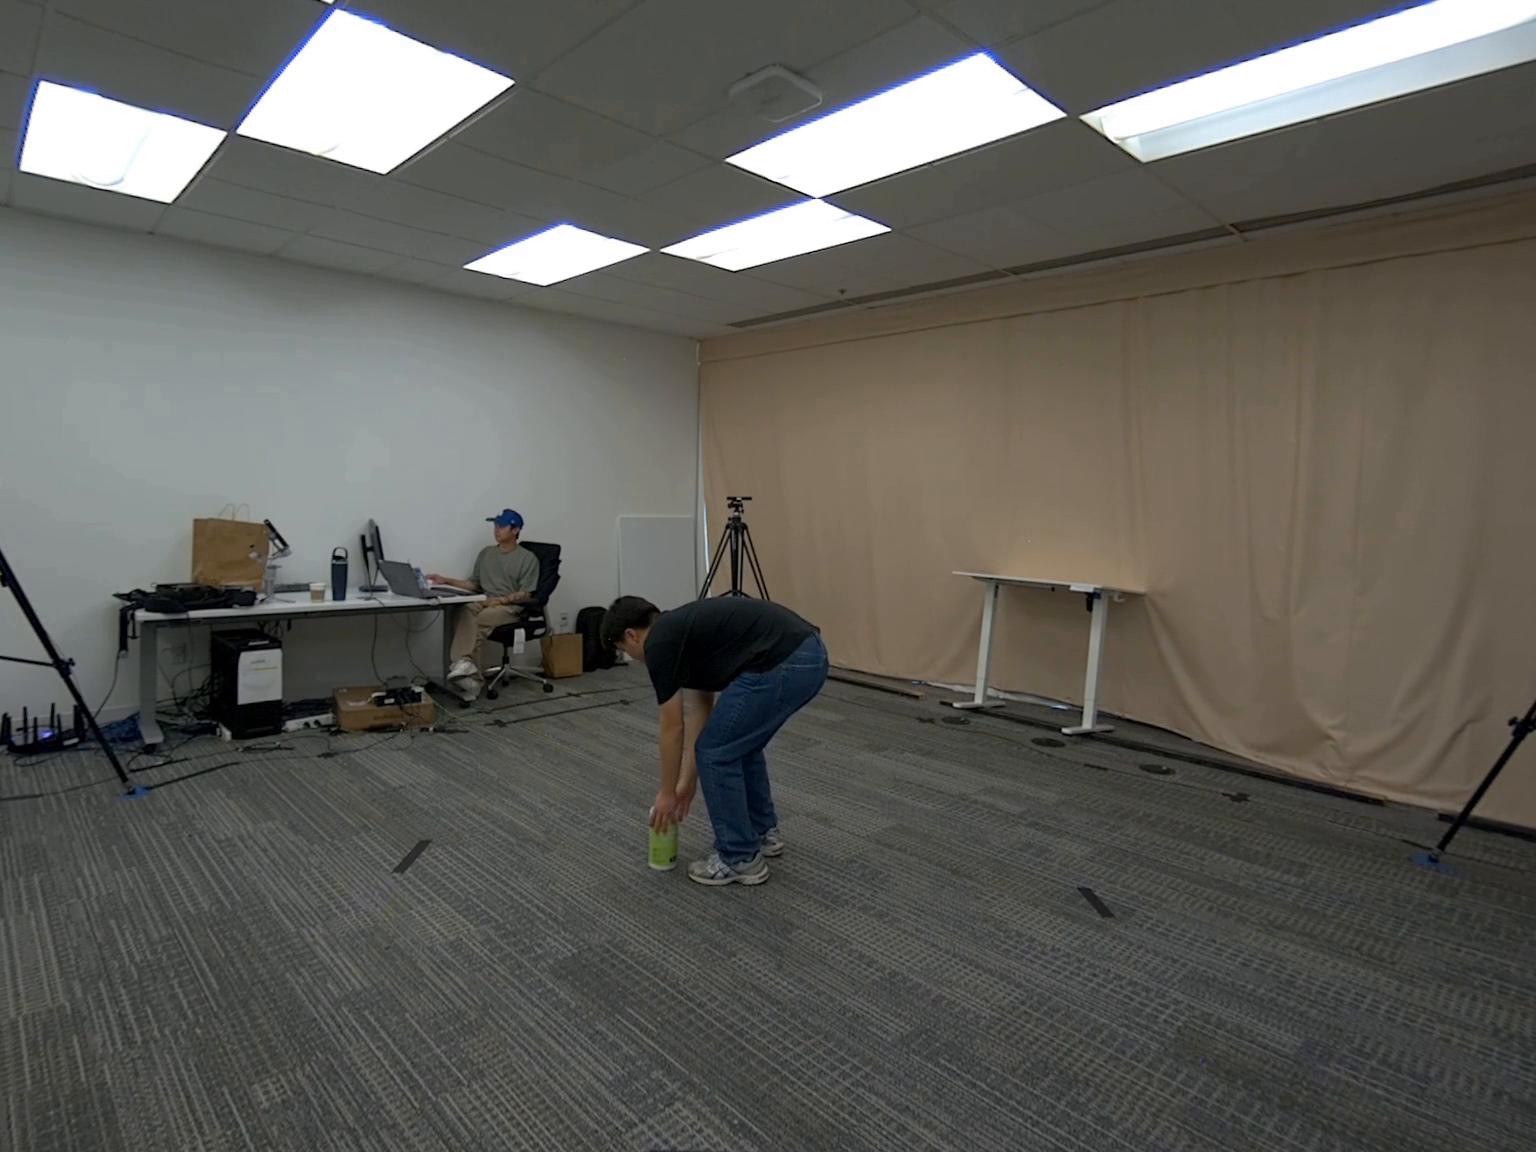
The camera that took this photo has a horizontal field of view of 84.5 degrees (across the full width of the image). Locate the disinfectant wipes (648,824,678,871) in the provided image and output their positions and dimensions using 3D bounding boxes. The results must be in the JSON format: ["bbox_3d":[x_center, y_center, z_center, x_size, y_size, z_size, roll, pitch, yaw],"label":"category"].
[{"bbox_3d":[-0.405,0.986,3.184,0.118,0.217,0.118,3,5,-2],"label":"disinfectant wipes"}]
